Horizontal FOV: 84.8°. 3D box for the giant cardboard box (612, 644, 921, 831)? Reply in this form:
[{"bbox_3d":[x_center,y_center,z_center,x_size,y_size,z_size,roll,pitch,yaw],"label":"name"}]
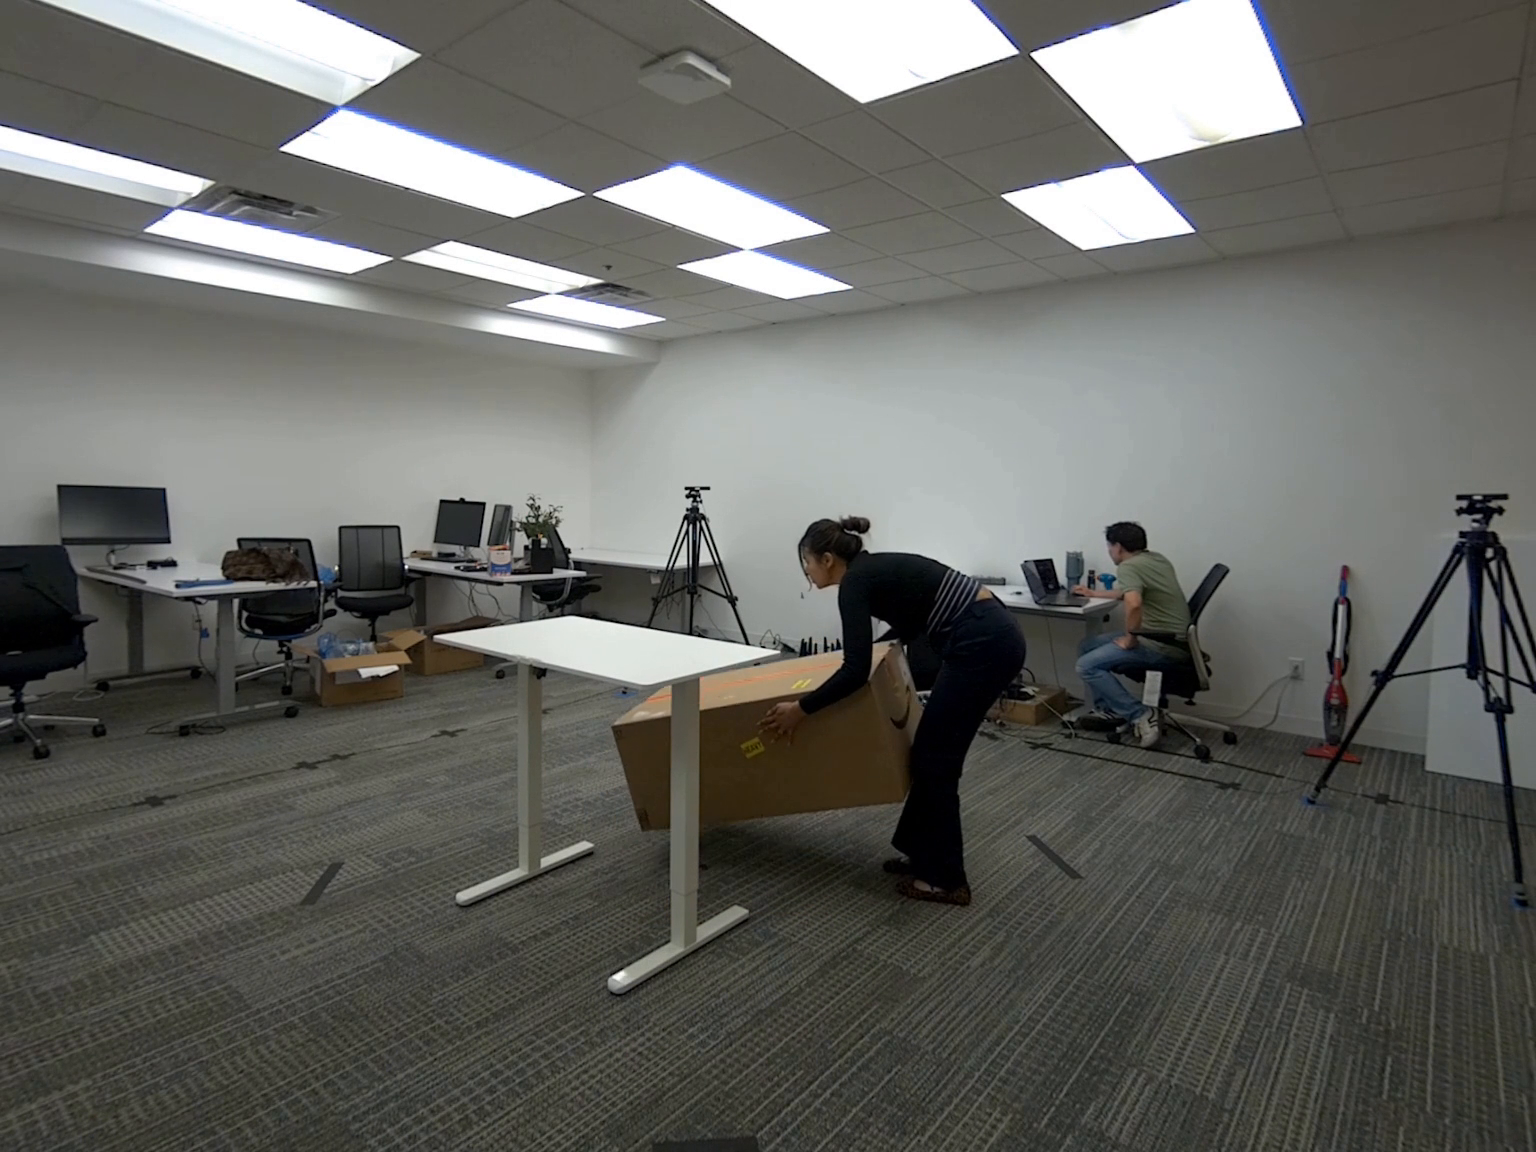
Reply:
[{"bbox_3d":[0.008,0.595,3.254,1.044,0.424,0.570,-13,5,23],"label":"giant cardboard box"}]
